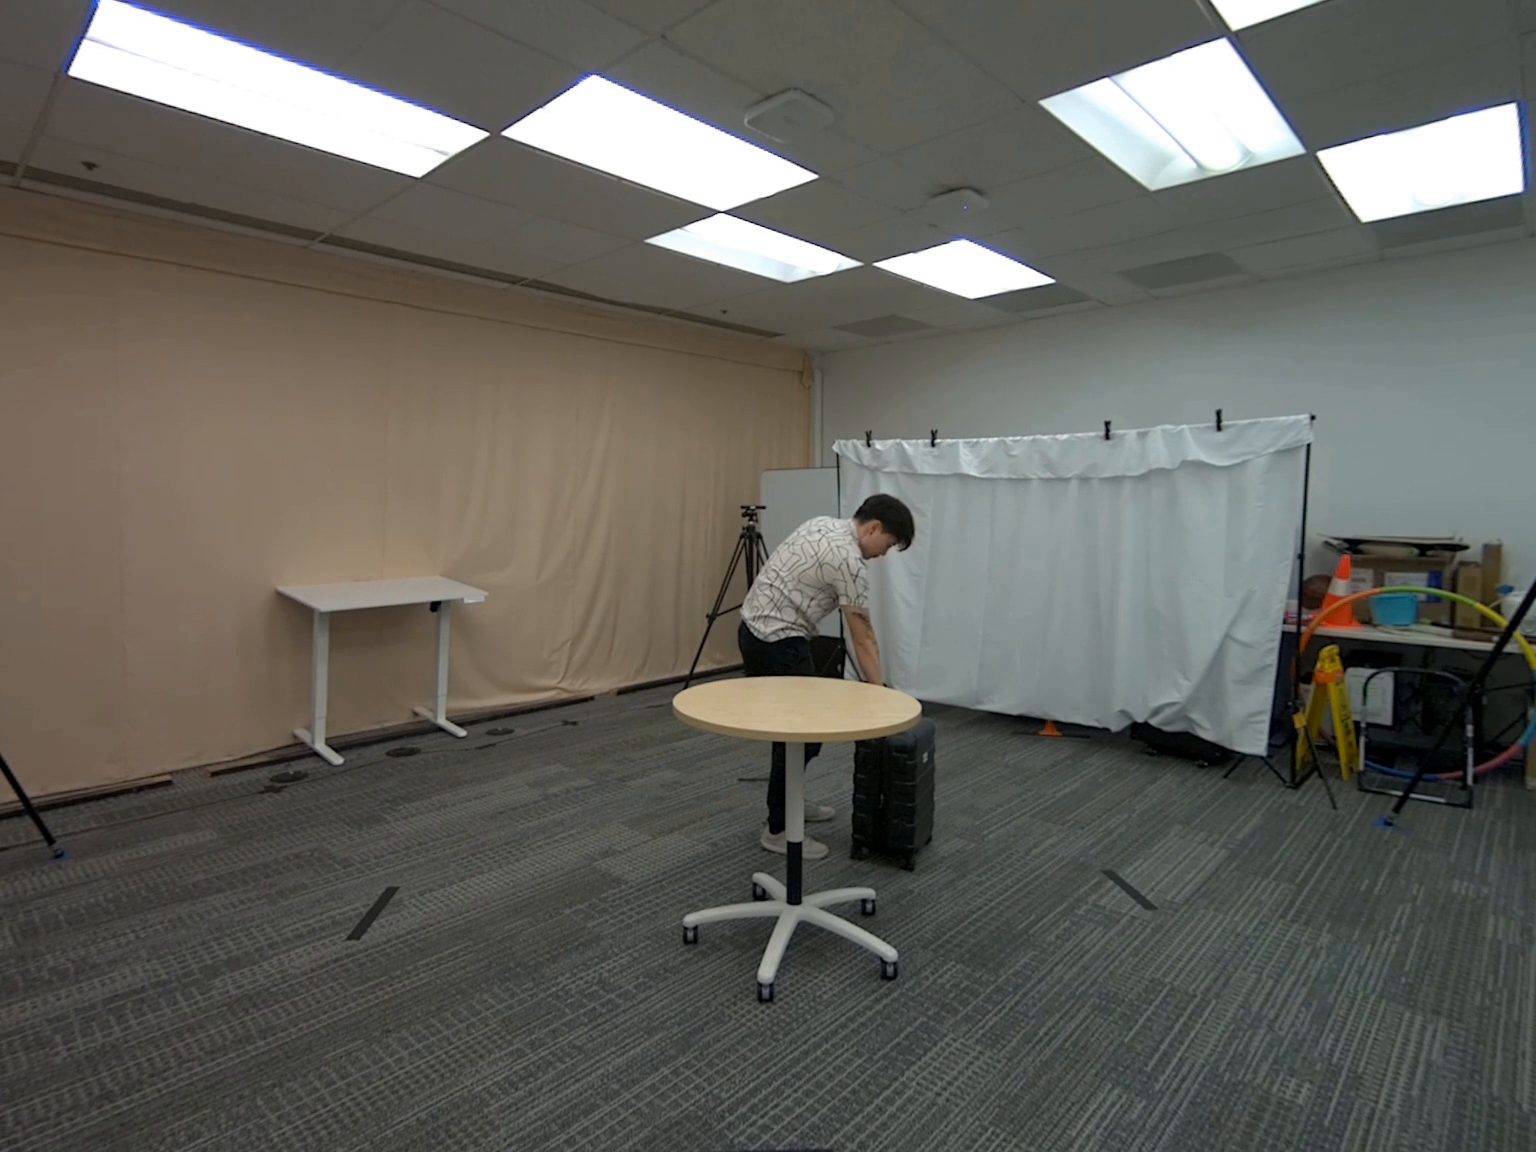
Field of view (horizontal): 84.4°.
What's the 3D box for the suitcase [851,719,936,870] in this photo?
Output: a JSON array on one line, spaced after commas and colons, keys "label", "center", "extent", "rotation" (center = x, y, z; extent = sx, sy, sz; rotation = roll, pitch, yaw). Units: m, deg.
[{"label": "suitcase", "center": [0.508, 0.837, 3.369], "extent": [0.255, 0.548, 0.366], "rotation": [3, 4, 27]}]
